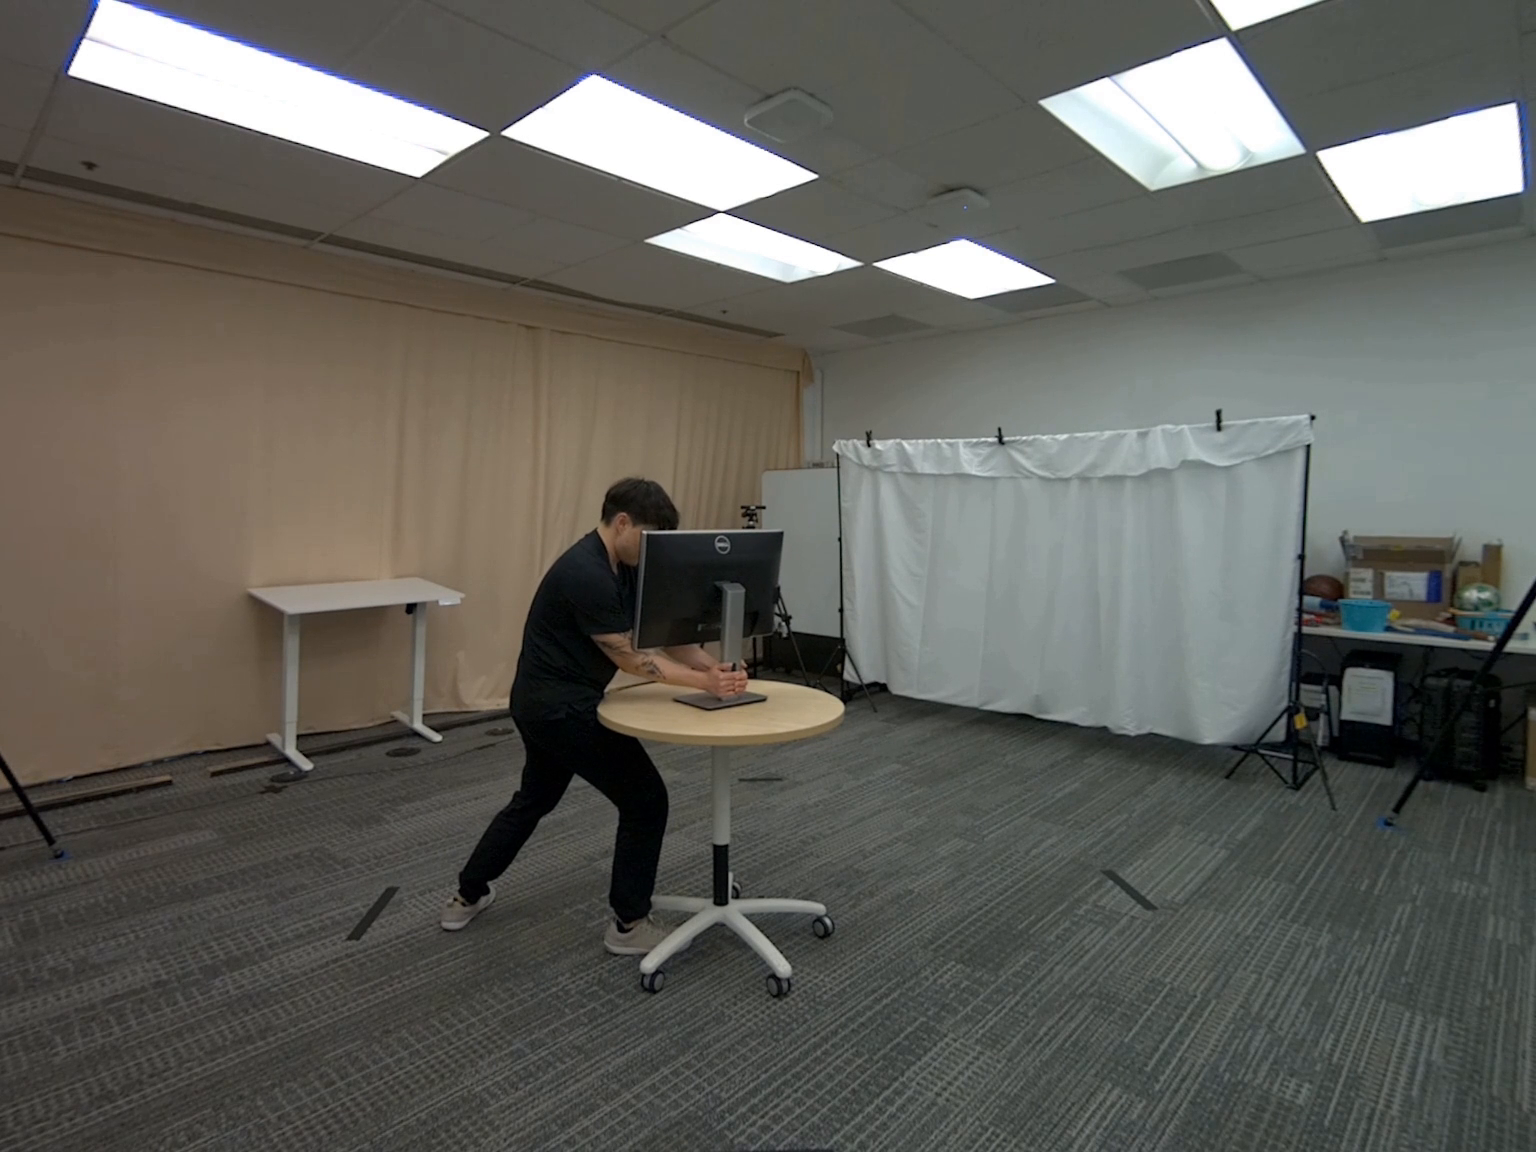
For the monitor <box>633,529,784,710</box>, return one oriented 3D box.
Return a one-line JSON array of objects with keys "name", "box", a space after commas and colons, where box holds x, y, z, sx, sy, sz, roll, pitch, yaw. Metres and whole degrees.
[{"name": "monitor", "box": [-0.150, 0.133, 2.648, 0.522, 0.522, 0.193, -3, 2, -41]}]
